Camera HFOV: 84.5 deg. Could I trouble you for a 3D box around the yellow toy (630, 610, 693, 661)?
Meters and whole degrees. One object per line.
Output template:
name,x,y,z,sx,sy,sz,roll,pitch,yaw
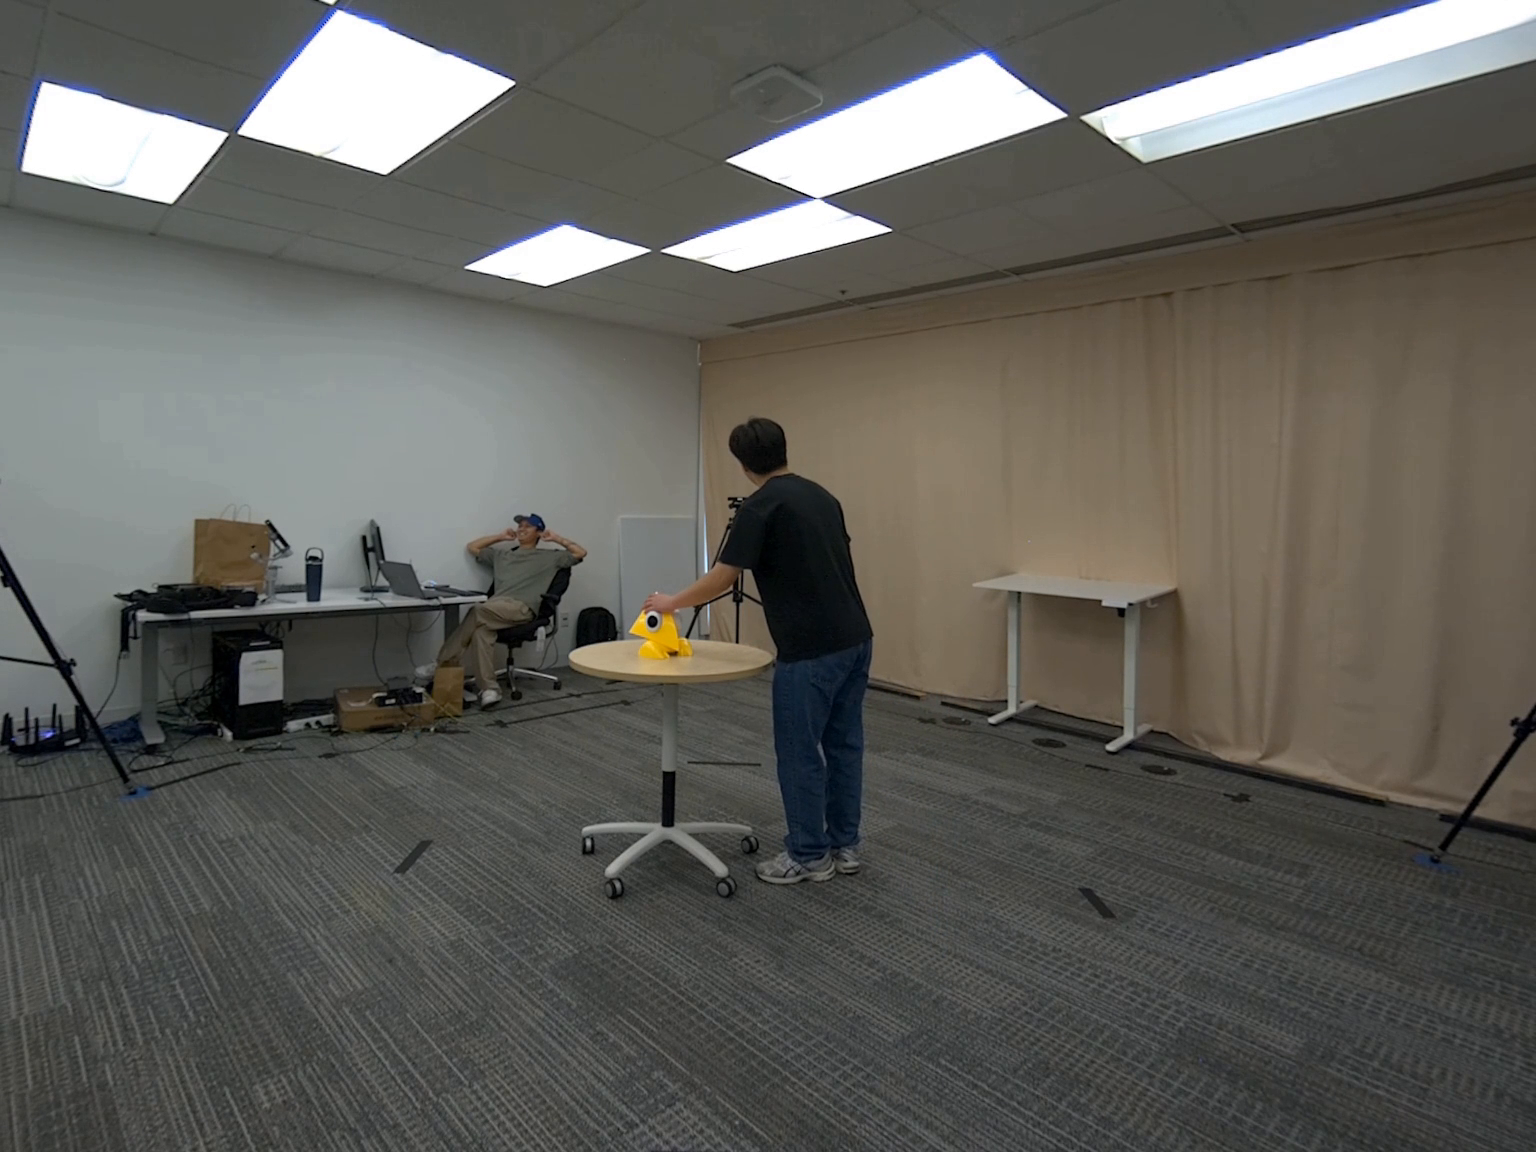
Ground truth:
yellow toy,-0.399,0.182,3.209,0.200,0.230,0.198,-1,4,-40
